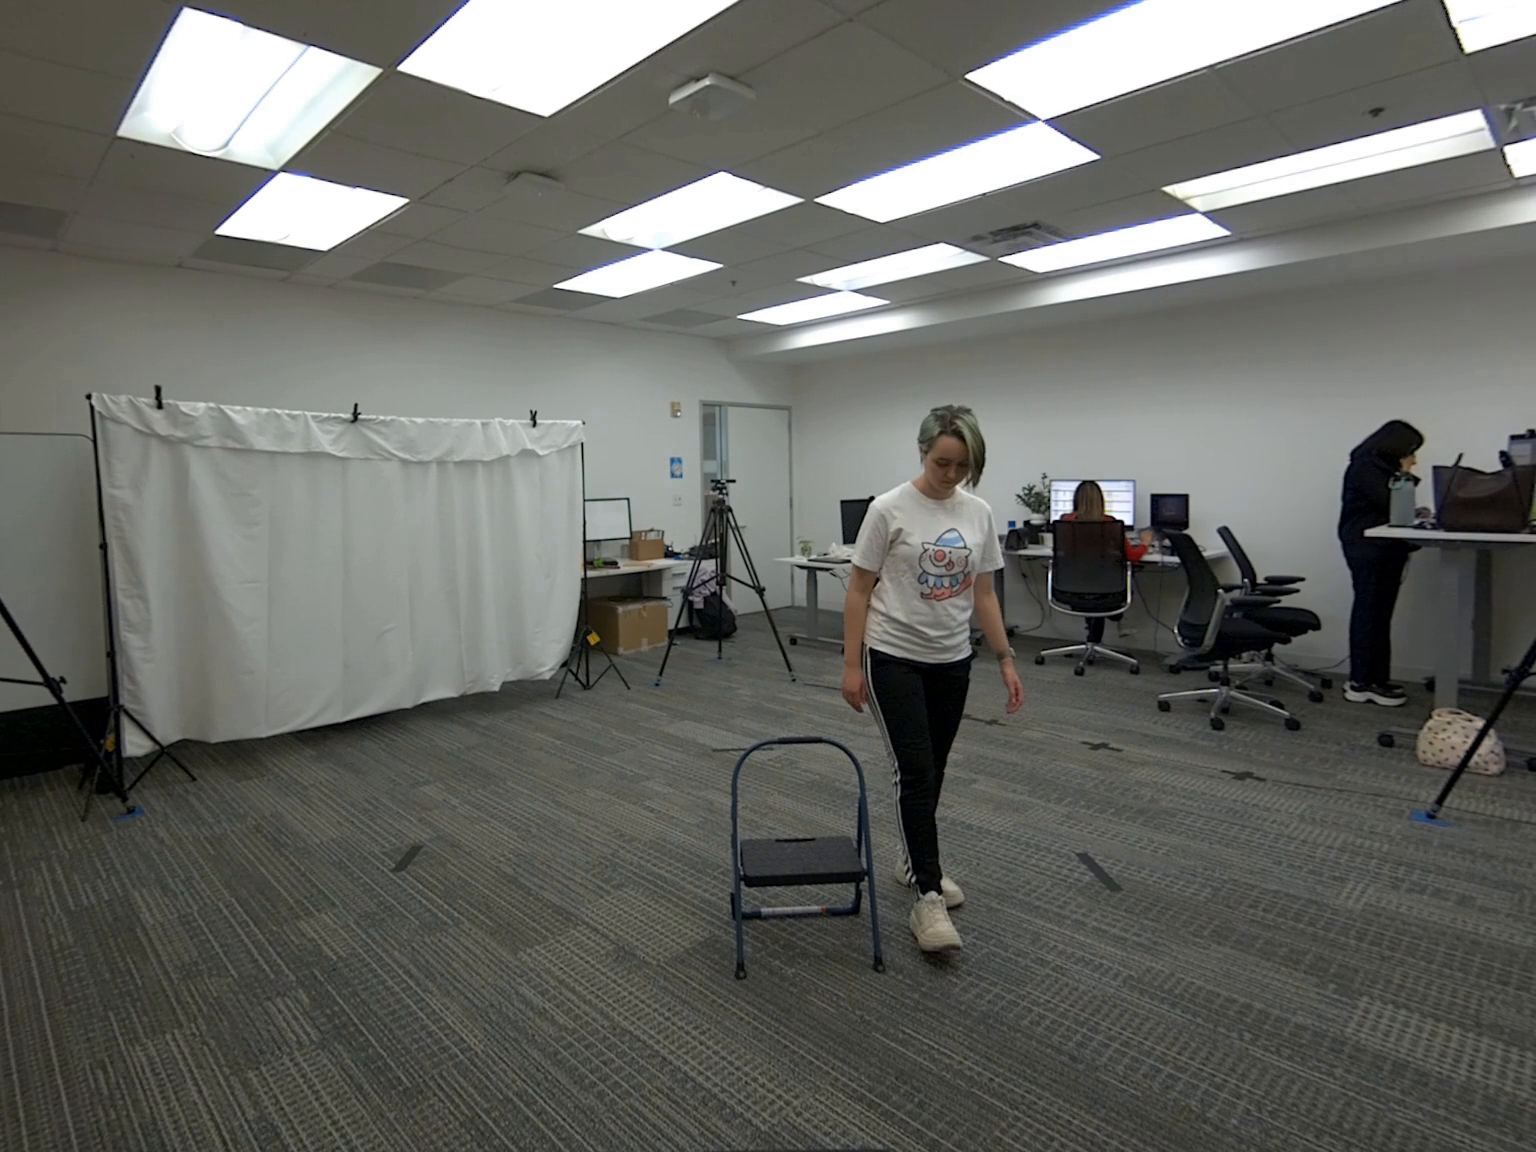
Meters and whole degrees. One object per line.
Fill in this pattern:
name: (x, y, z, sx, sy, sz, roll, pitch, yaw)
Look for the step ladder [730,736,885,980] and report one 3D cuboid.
step ladder: (0.101, 0.809, 2.555, 0.429, 0.603, 0.352, -1, 5, -5)
